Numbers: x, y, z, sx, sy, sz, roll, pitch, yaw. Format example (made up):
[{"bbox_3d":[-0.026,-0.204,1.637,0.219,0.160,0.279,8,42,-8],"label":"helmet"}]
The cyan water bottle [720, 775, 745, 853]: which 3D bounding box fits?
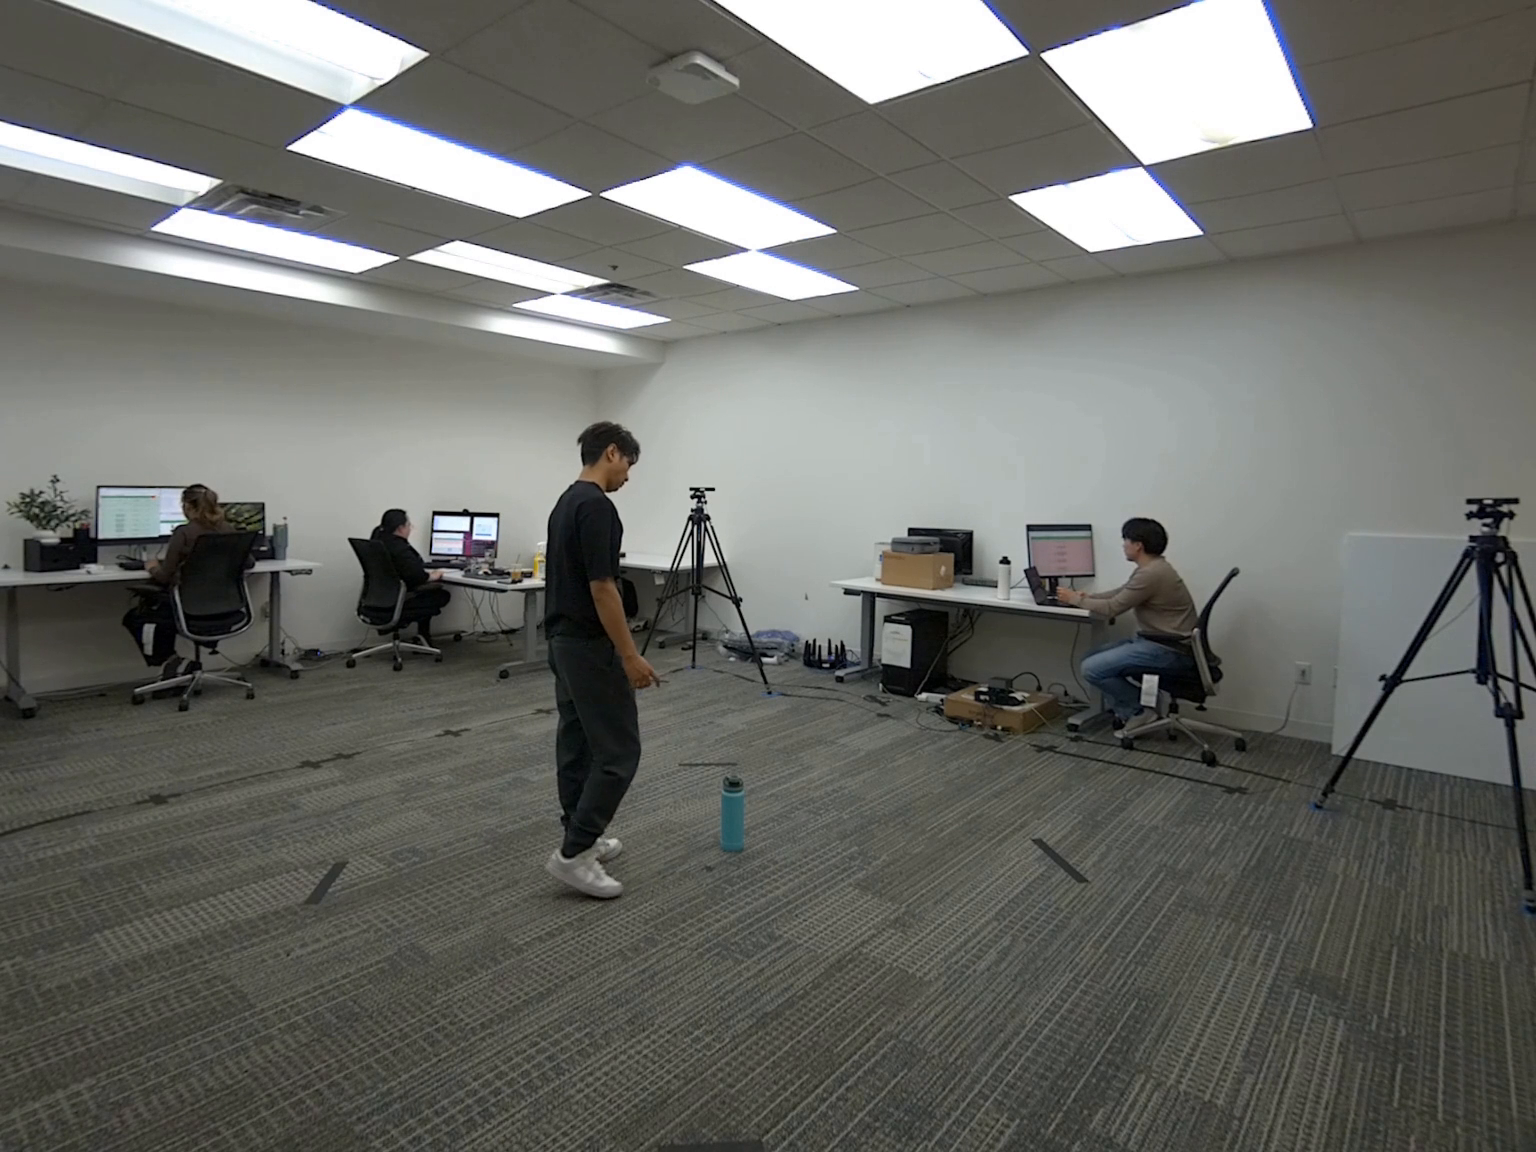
[{"bbox_3d":[-0.148,0.909,3.299,0.092,0.282,0.093,0,3,-2],"label":"cyan water bottle"}]
